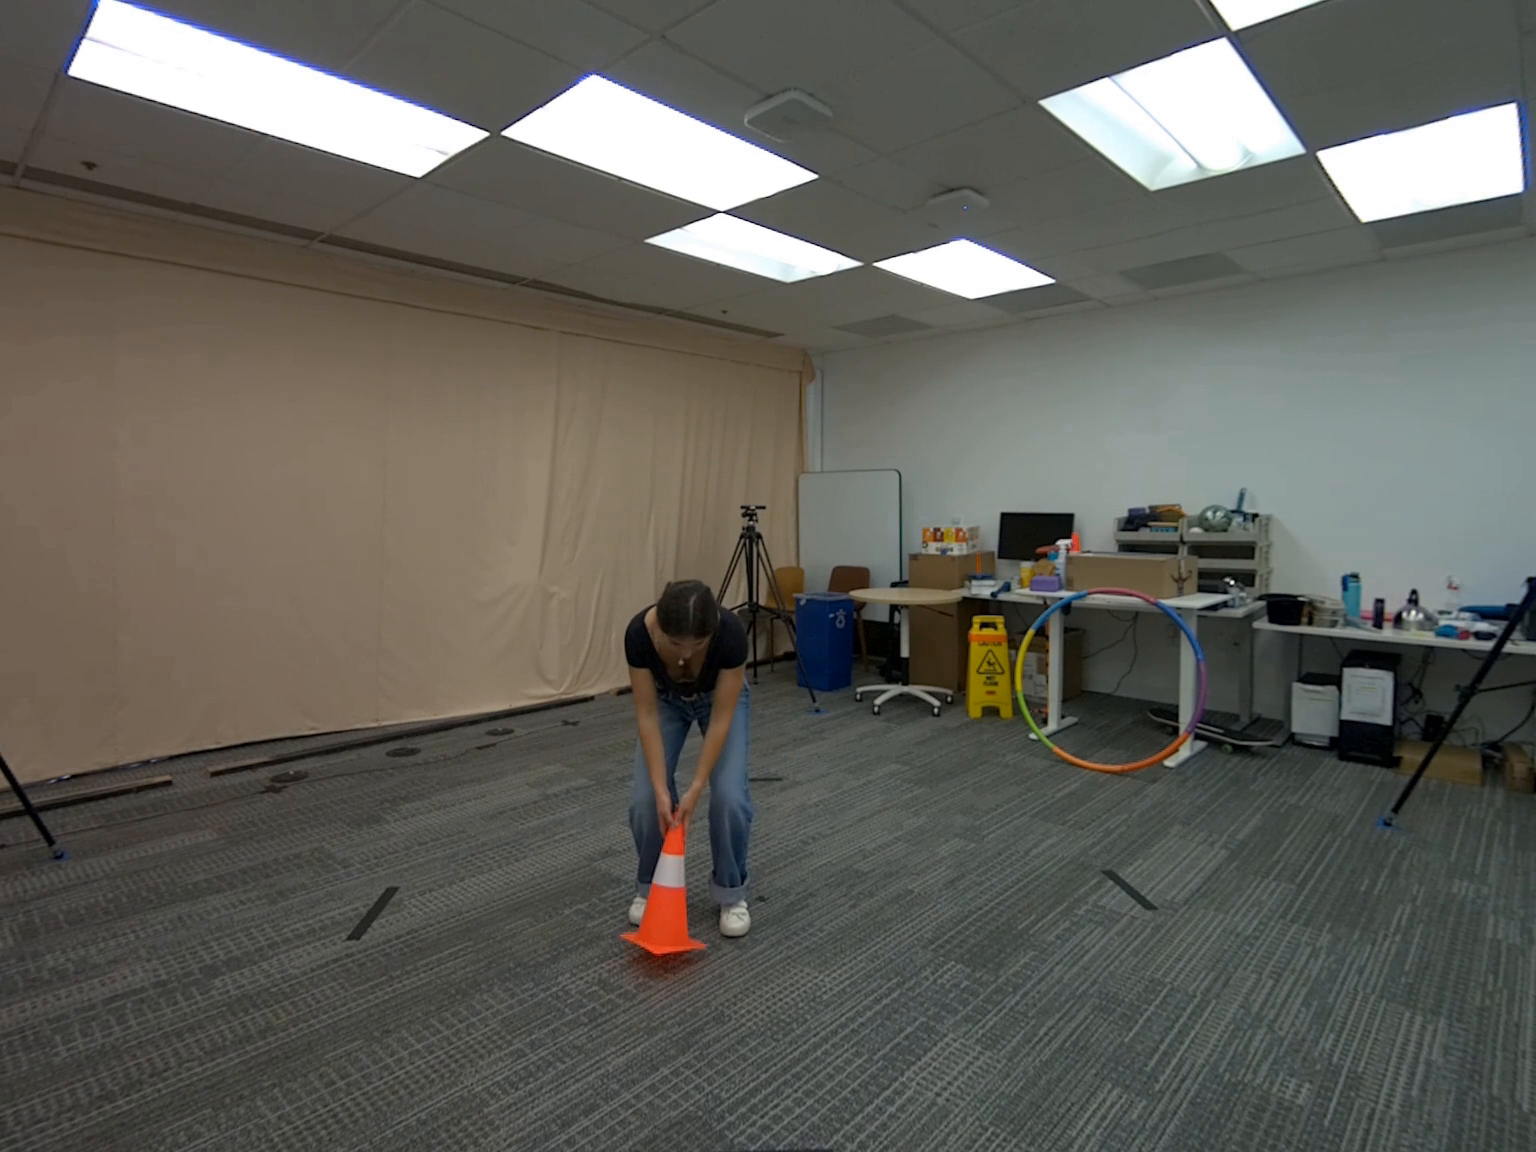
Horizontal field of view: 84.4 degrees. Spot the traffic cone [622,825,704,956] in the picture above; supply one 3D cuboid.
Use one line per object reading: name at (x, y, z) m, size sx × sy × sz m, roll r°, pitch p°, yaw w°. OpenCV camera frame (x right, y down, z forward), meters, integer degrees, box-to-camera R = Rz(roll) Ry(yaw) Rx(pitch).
traffic cone at (-0.290, 0.922, 2.608) m, size 0.198 × 0.385 × 0.209 m, roll 17°, pitch -14°, yaw -41°
